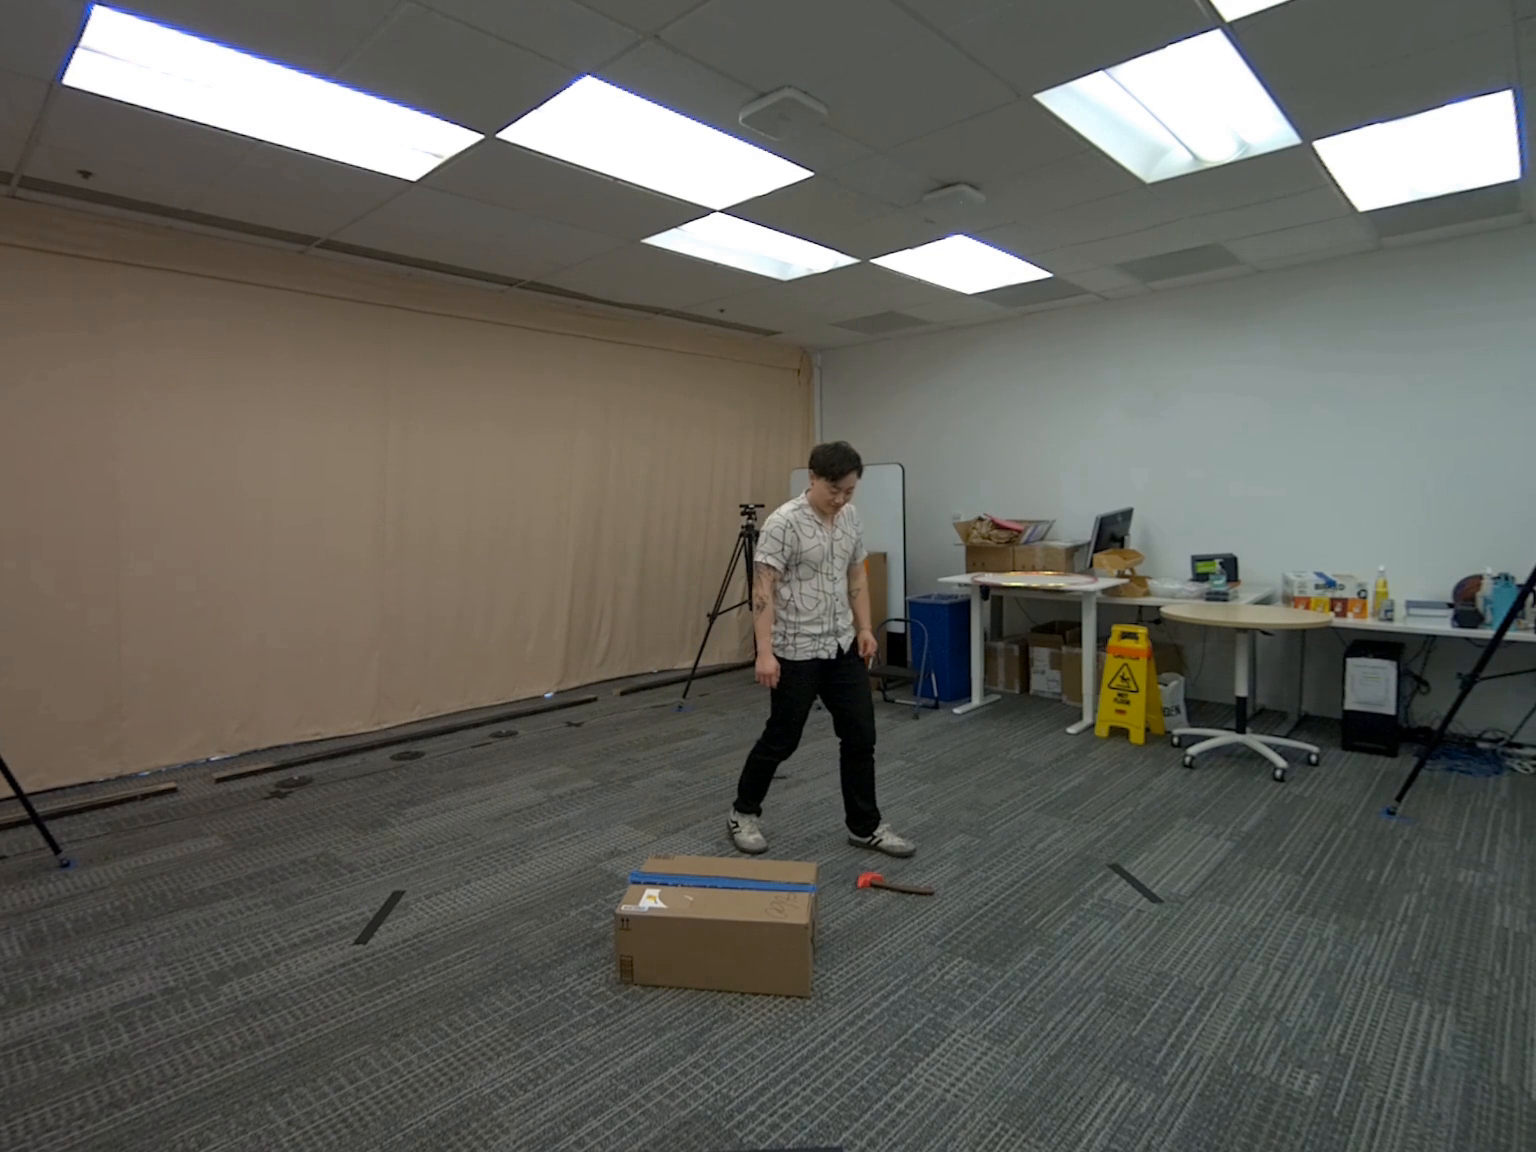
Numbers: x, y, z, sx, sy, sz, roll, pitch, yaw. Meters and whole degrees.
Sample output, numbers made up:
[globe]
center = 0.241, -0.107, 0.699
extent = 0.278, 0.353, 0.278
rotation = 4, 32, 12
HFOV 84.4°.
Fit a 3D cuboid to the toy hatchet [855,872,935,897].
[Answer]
[toy hatchet]
center = 0.464, 1.114, 3.051
extent = 0.273, 0.029, 0.130
rotation = 1, 3, 10
